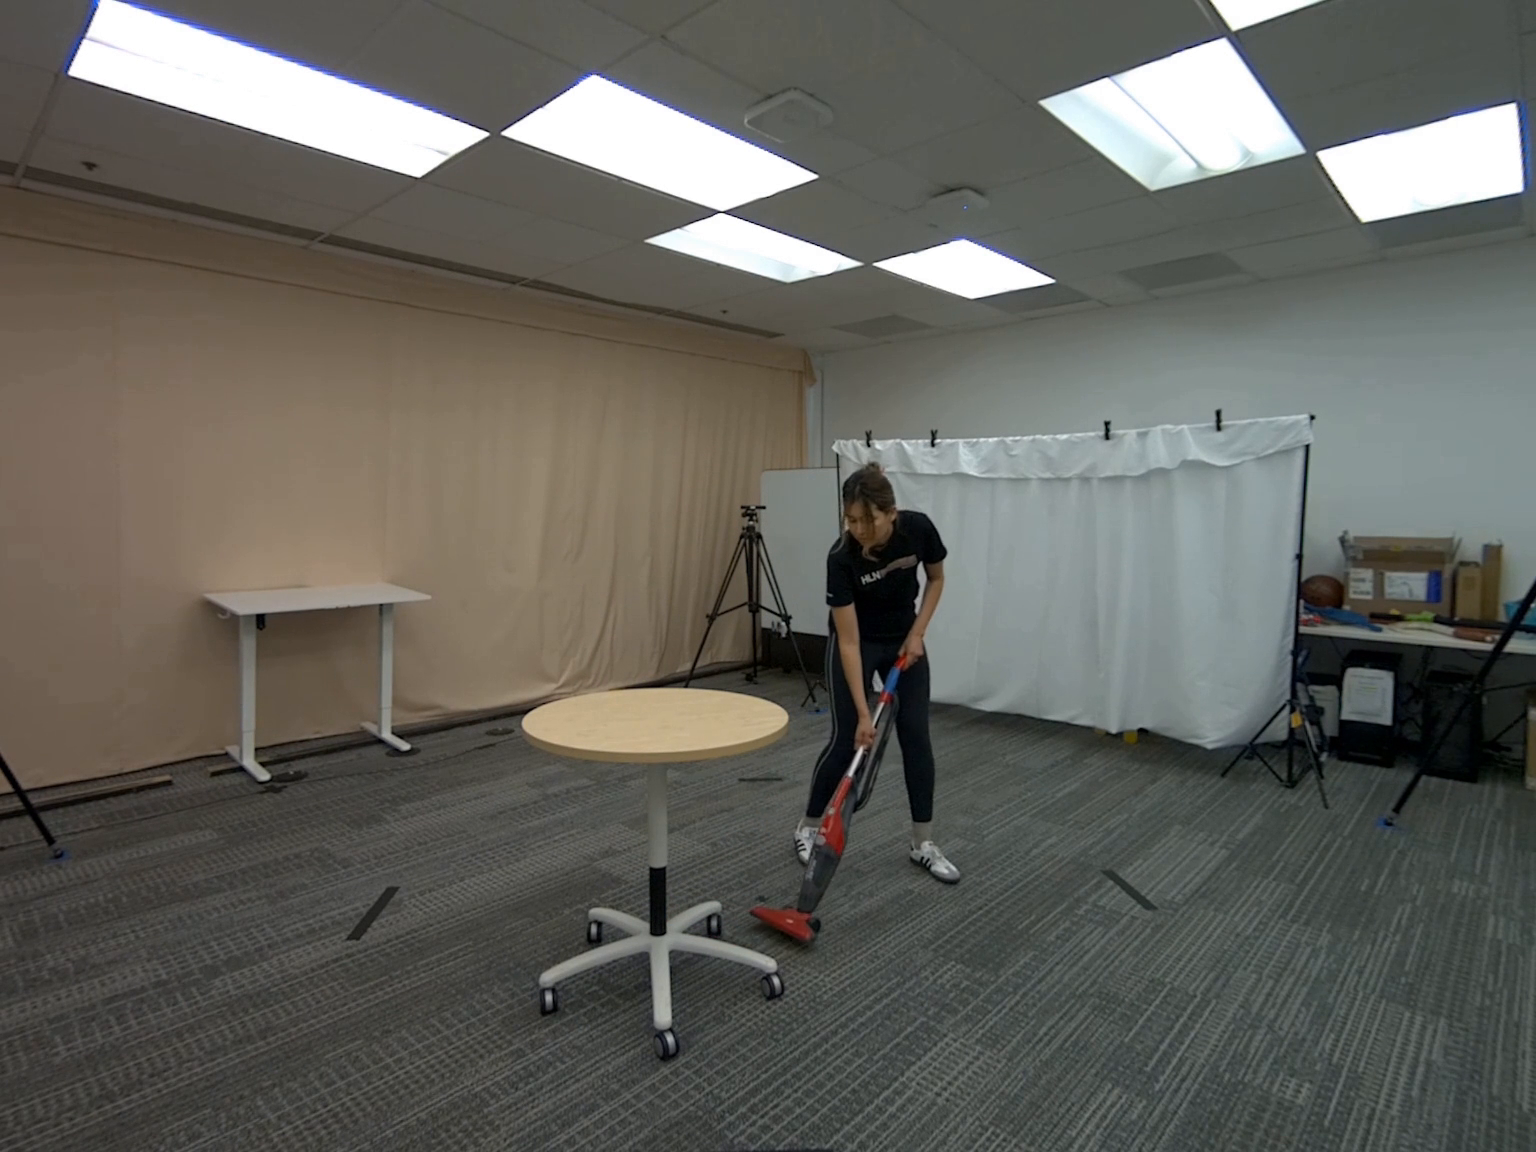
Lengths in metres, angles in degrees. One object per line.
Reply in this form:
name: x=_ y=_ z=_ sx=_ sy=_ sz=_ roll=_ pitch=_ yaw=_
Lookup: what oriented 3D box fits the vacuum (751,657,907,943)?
vacuum: x=0.310 y=0.719 z=2.930 sx=0.261 sy=1.050 sz=0.139 roll=7 pitch=-30 yaw=41
